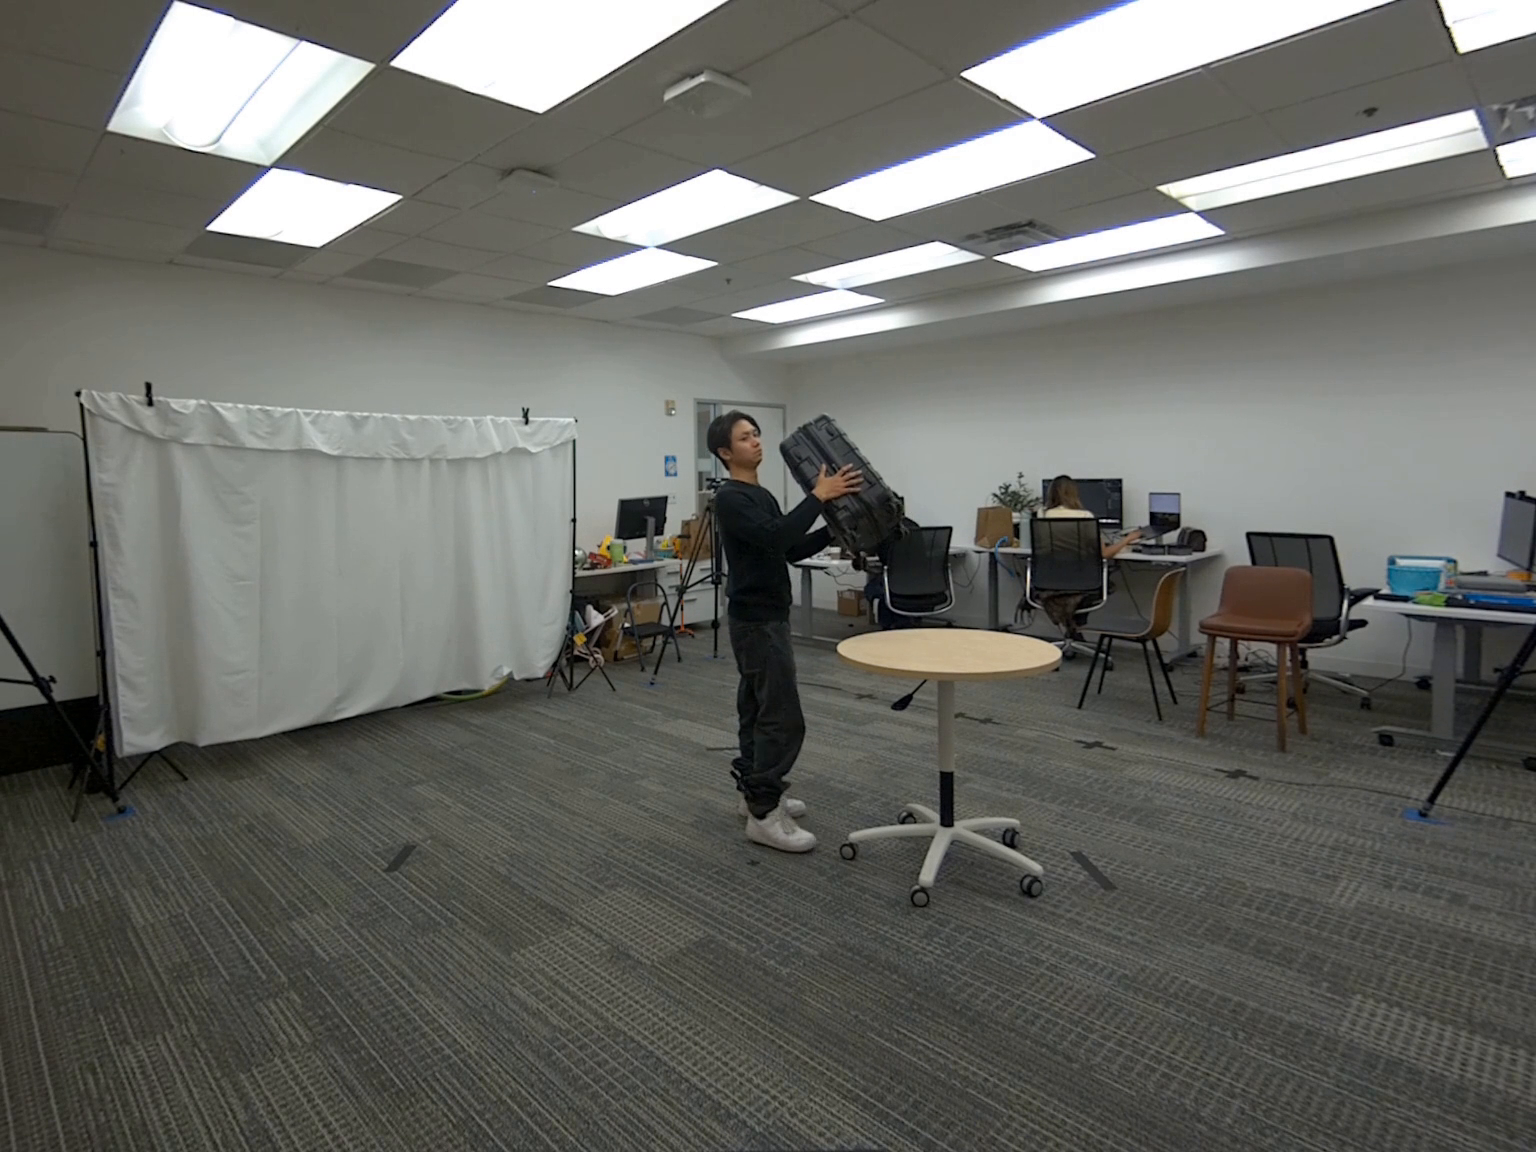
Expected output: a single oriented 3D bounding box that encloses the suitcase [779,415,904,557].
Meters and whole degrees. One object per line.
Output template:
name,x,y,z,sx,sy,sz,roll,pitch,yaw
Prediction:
suitcase,0.290,-0.355,3.404,0.248,0.566,0.364,-35,-26,2
